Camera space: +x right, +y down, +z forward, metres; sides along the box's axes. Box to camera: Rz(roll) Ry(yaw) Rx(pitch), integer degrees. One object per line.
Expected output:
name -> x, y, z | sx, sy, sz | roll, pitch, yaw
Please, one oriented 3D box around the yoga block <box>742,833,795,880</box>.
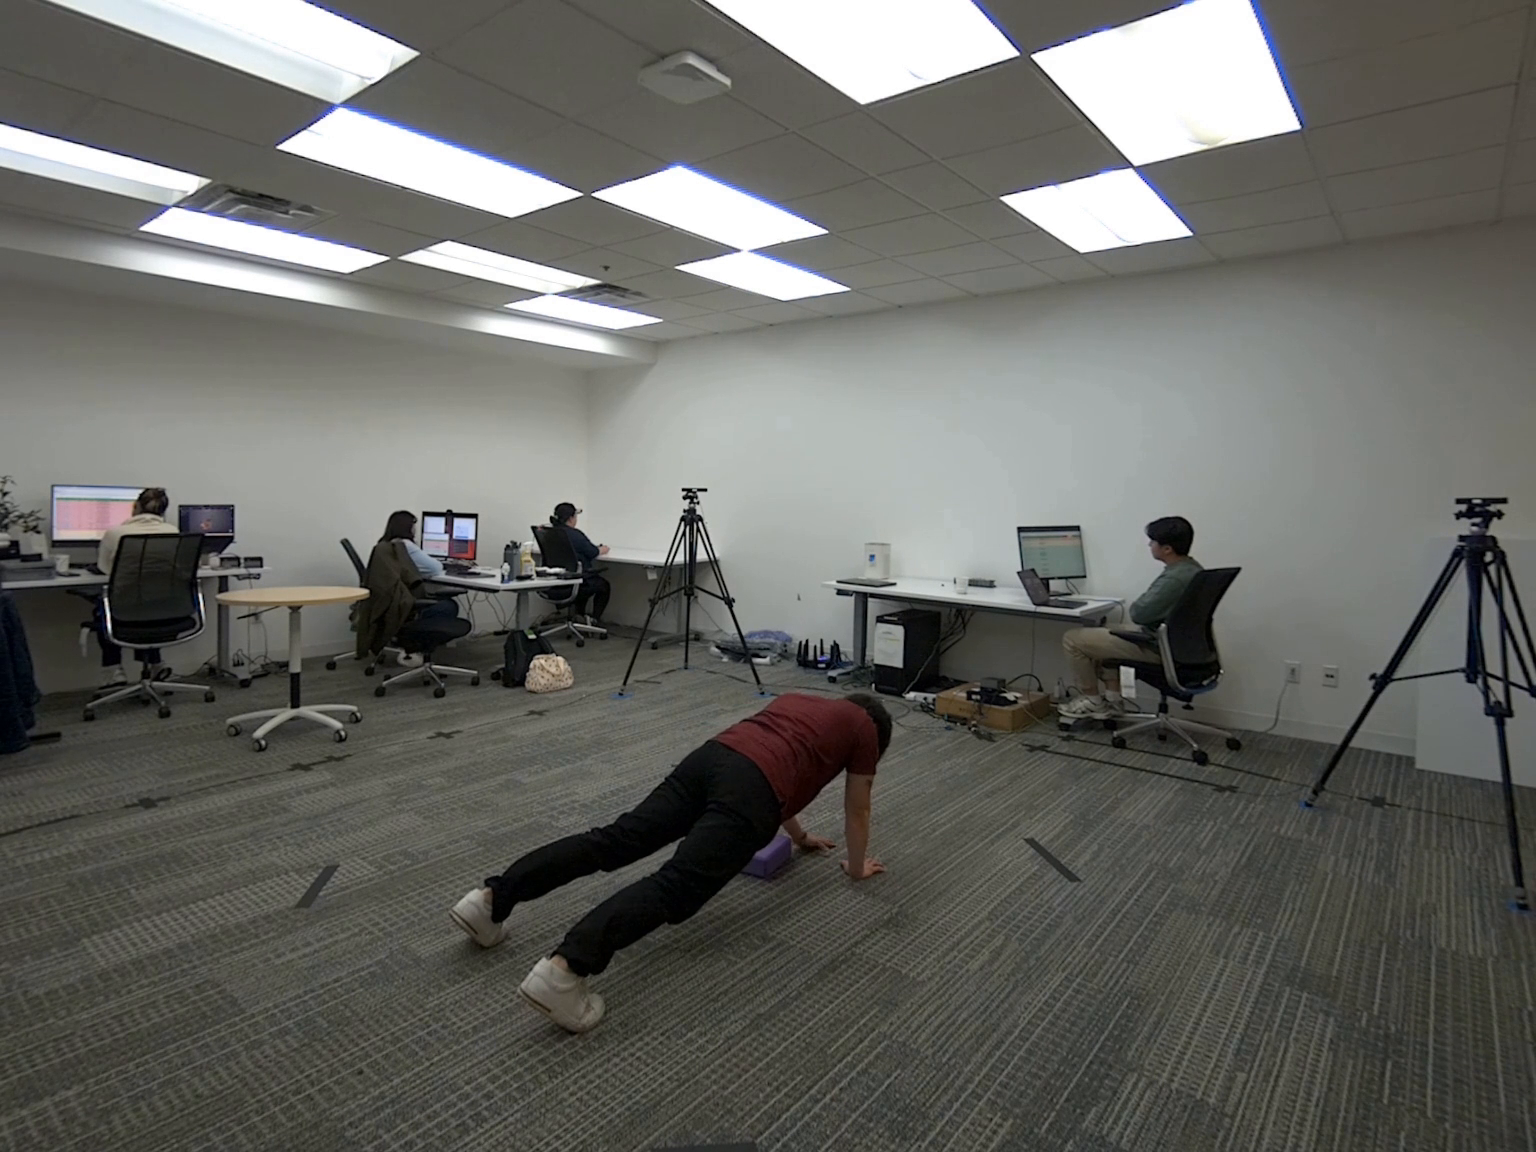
yoga block -> -0.028, 1.022, 3.163 | 0.153, 0.076, 0.224 | 2, 4, 28
